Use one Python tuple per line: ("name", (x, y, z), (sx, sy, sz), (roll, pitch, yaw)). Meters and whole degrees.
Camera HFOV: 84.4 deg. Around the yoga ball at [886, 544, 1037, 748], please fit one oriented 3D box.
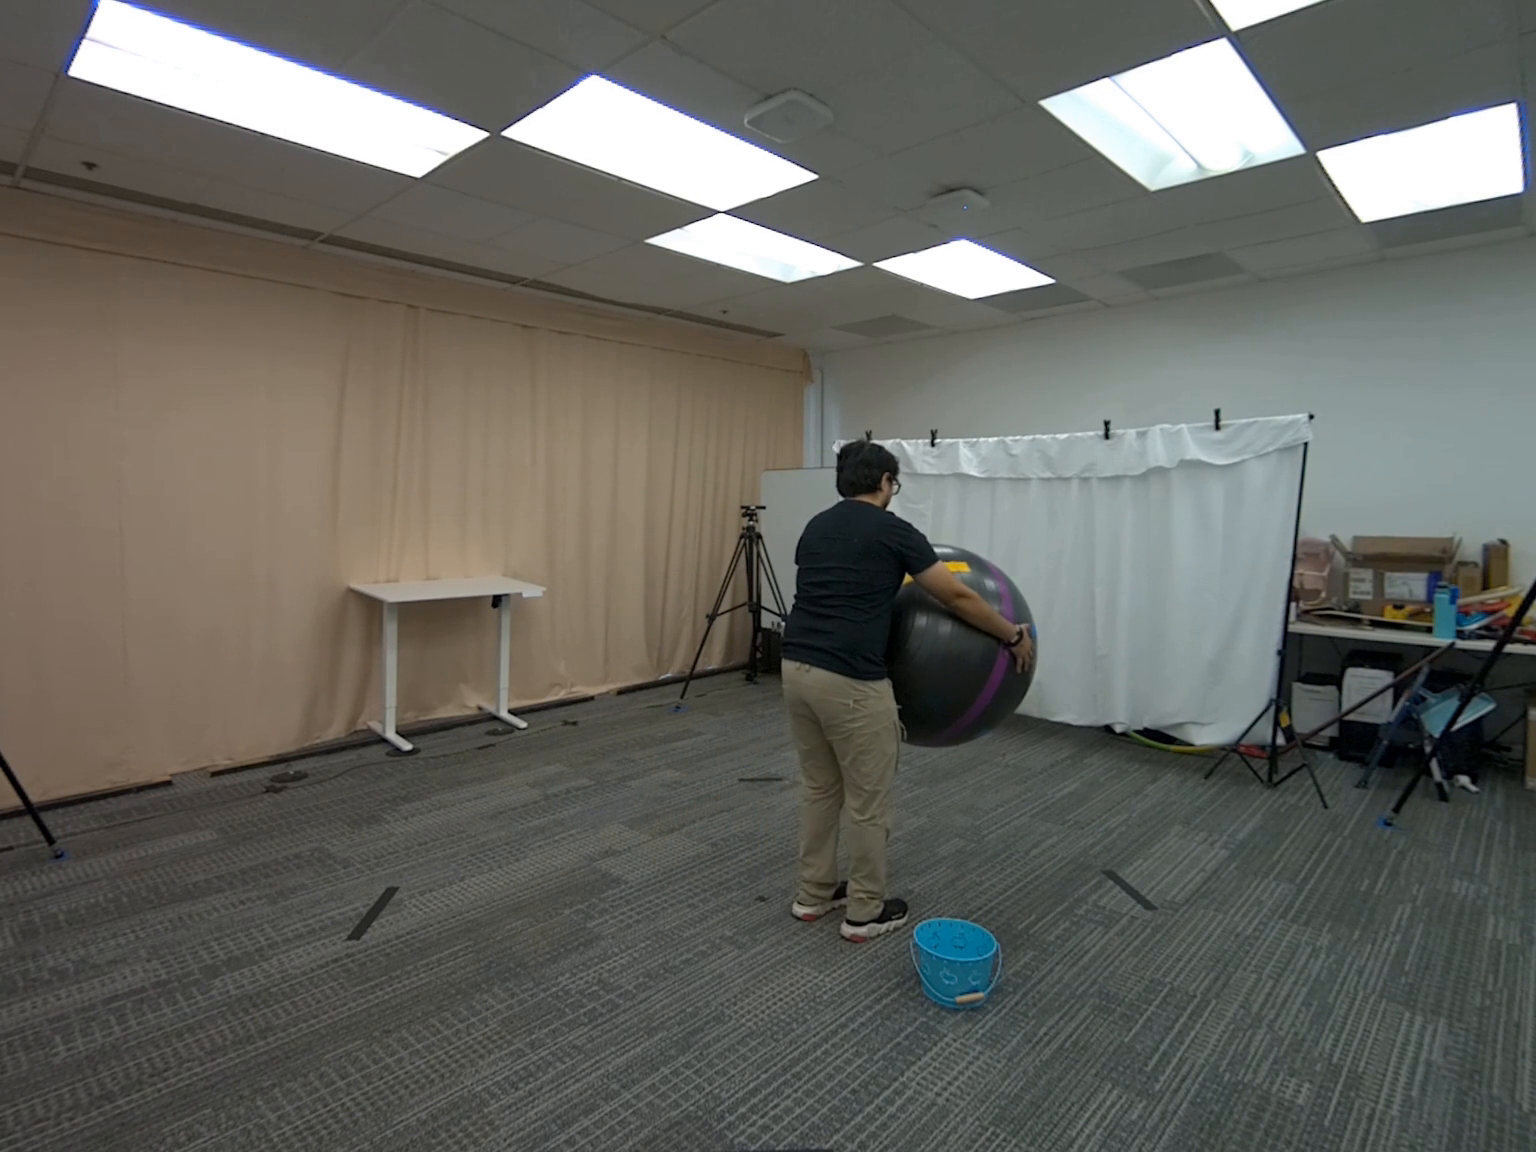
("yoga ball", (0.620, 0.263, 3.175), (0.757, 0.756, 0.760), (0, 4, -2))
